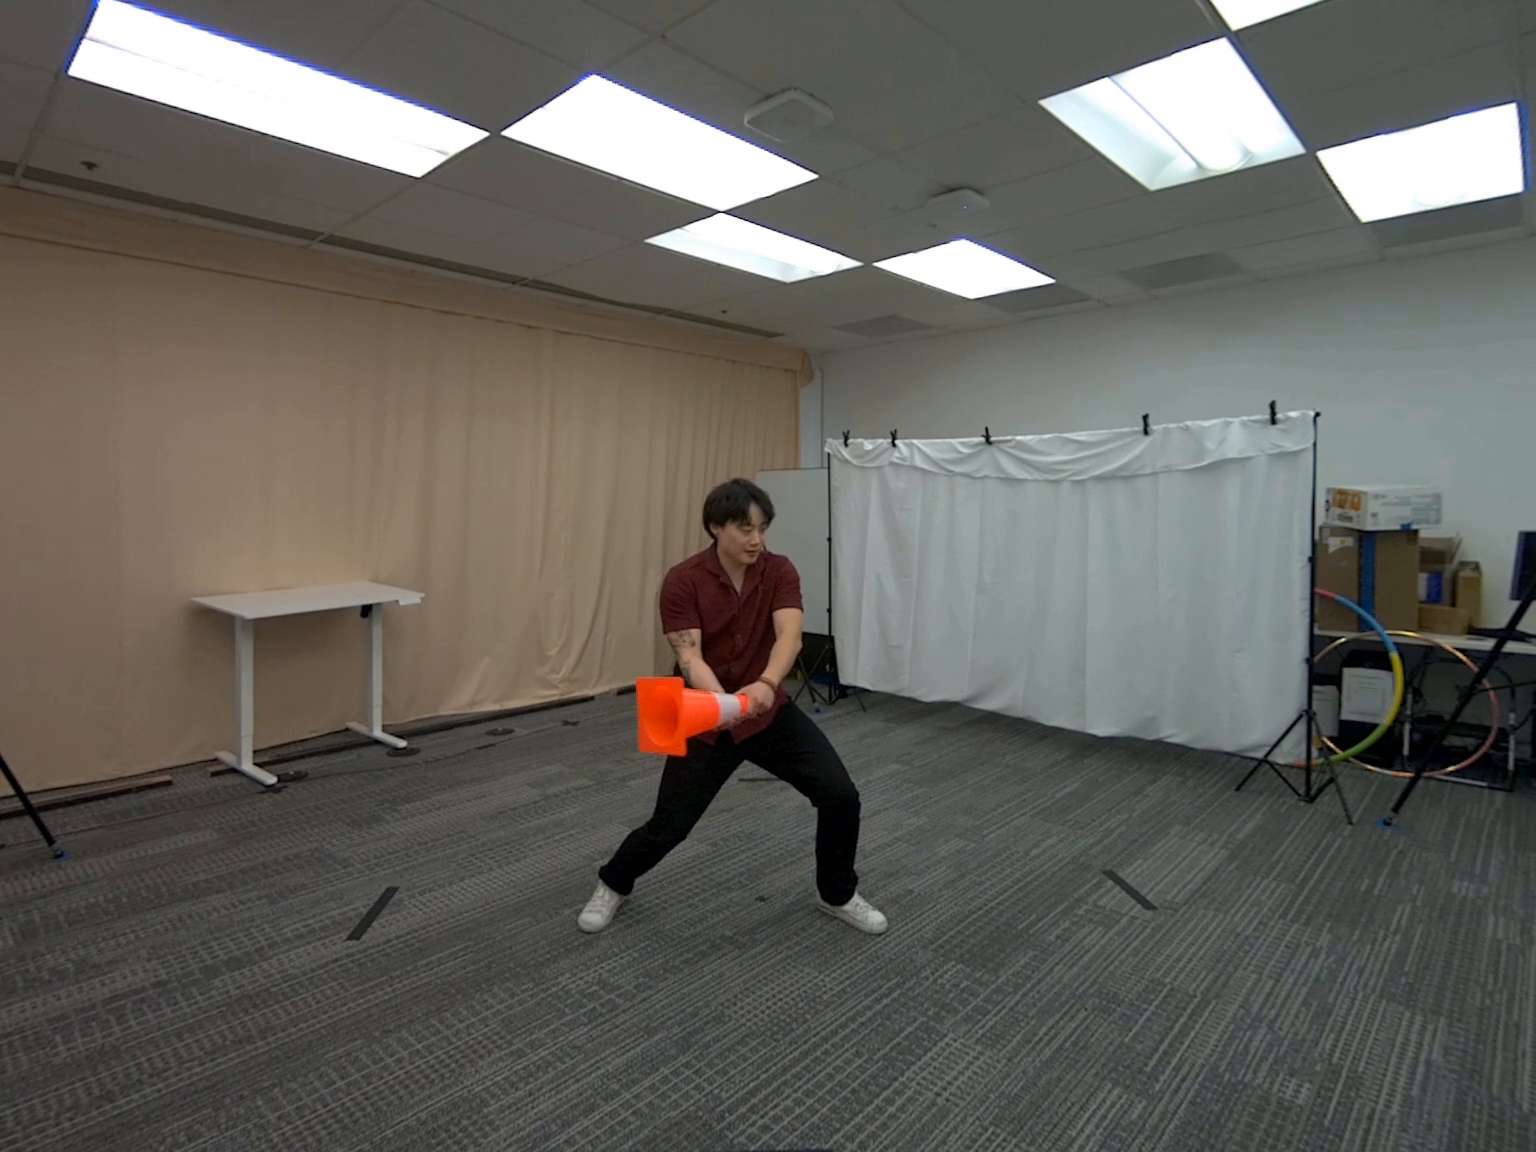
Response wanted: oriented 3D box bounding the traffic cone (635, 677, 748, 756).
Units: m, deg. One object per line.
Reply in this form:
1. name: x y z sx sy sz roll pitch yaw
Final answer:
1. traffic cone: -0.149 0.367 2.363 0.371 0.205 0.209 1 -5 -44
